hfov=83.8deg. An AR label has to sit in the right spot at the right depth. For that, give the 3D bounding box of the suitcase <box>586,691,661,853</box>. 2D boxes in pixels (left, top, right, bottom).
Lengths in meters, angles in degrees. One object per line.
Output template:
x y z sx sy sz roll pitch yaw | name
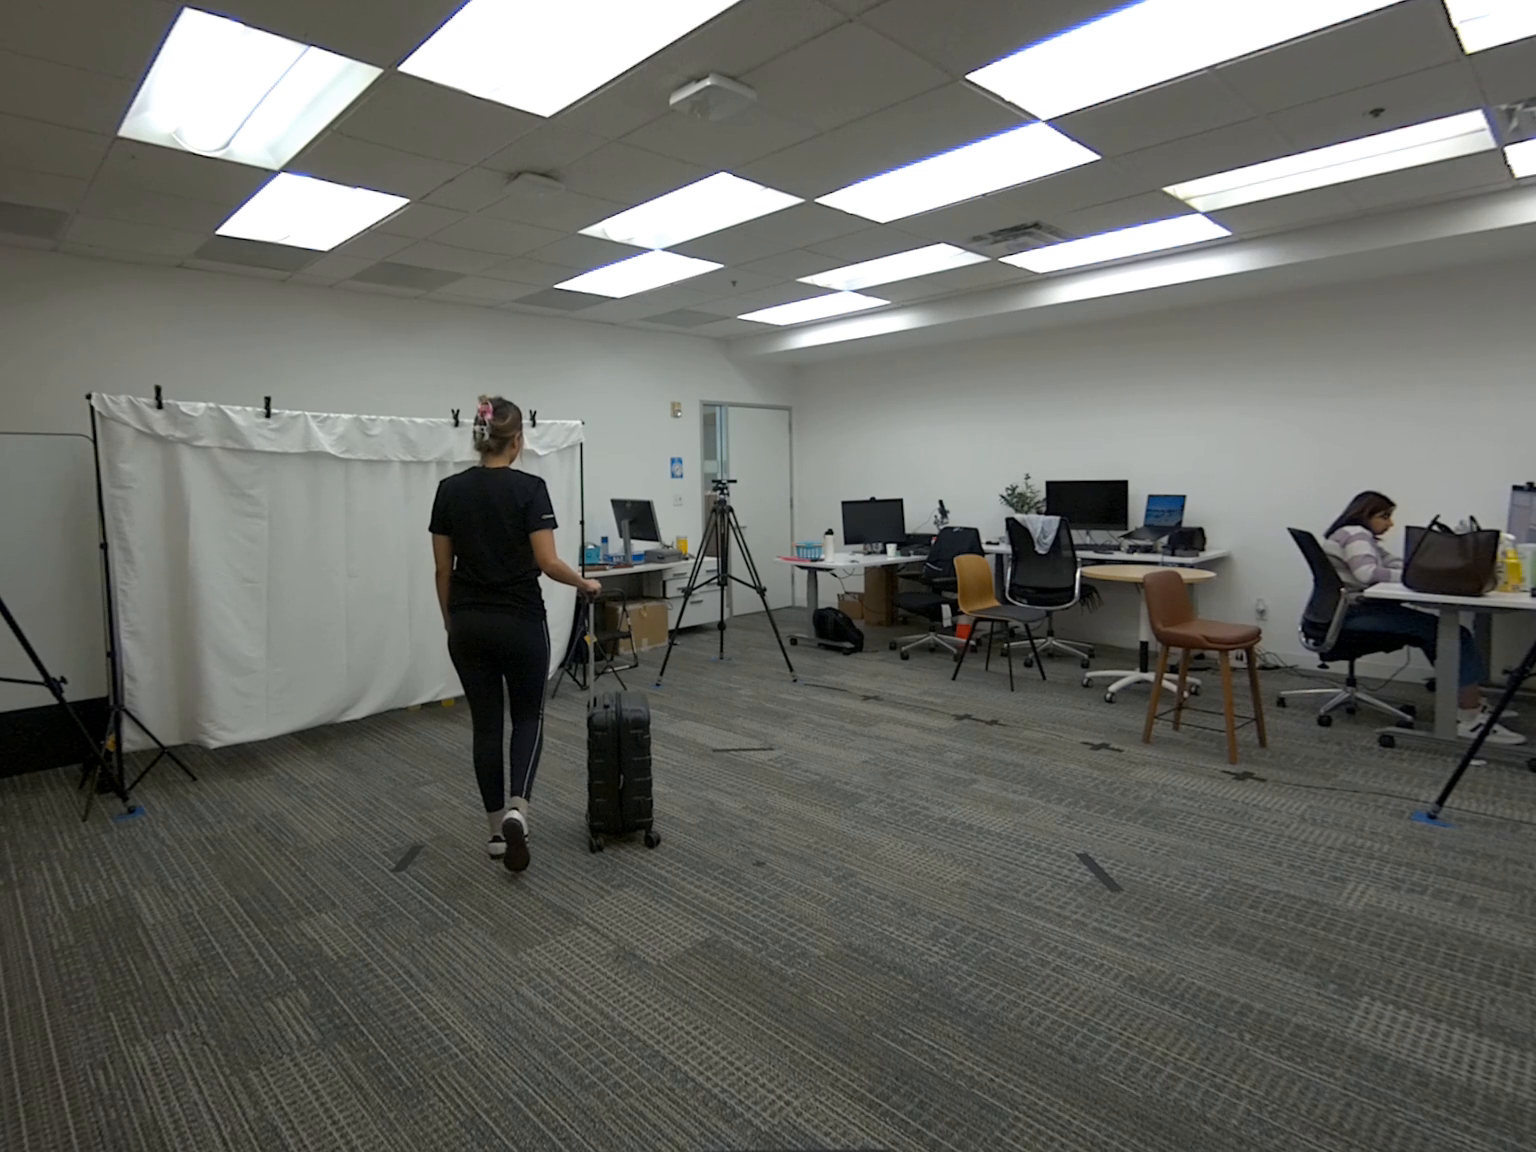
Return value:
-0.589 0.550 3.396 0.255 0.976 0.388 1 3 -9 | suitcase
